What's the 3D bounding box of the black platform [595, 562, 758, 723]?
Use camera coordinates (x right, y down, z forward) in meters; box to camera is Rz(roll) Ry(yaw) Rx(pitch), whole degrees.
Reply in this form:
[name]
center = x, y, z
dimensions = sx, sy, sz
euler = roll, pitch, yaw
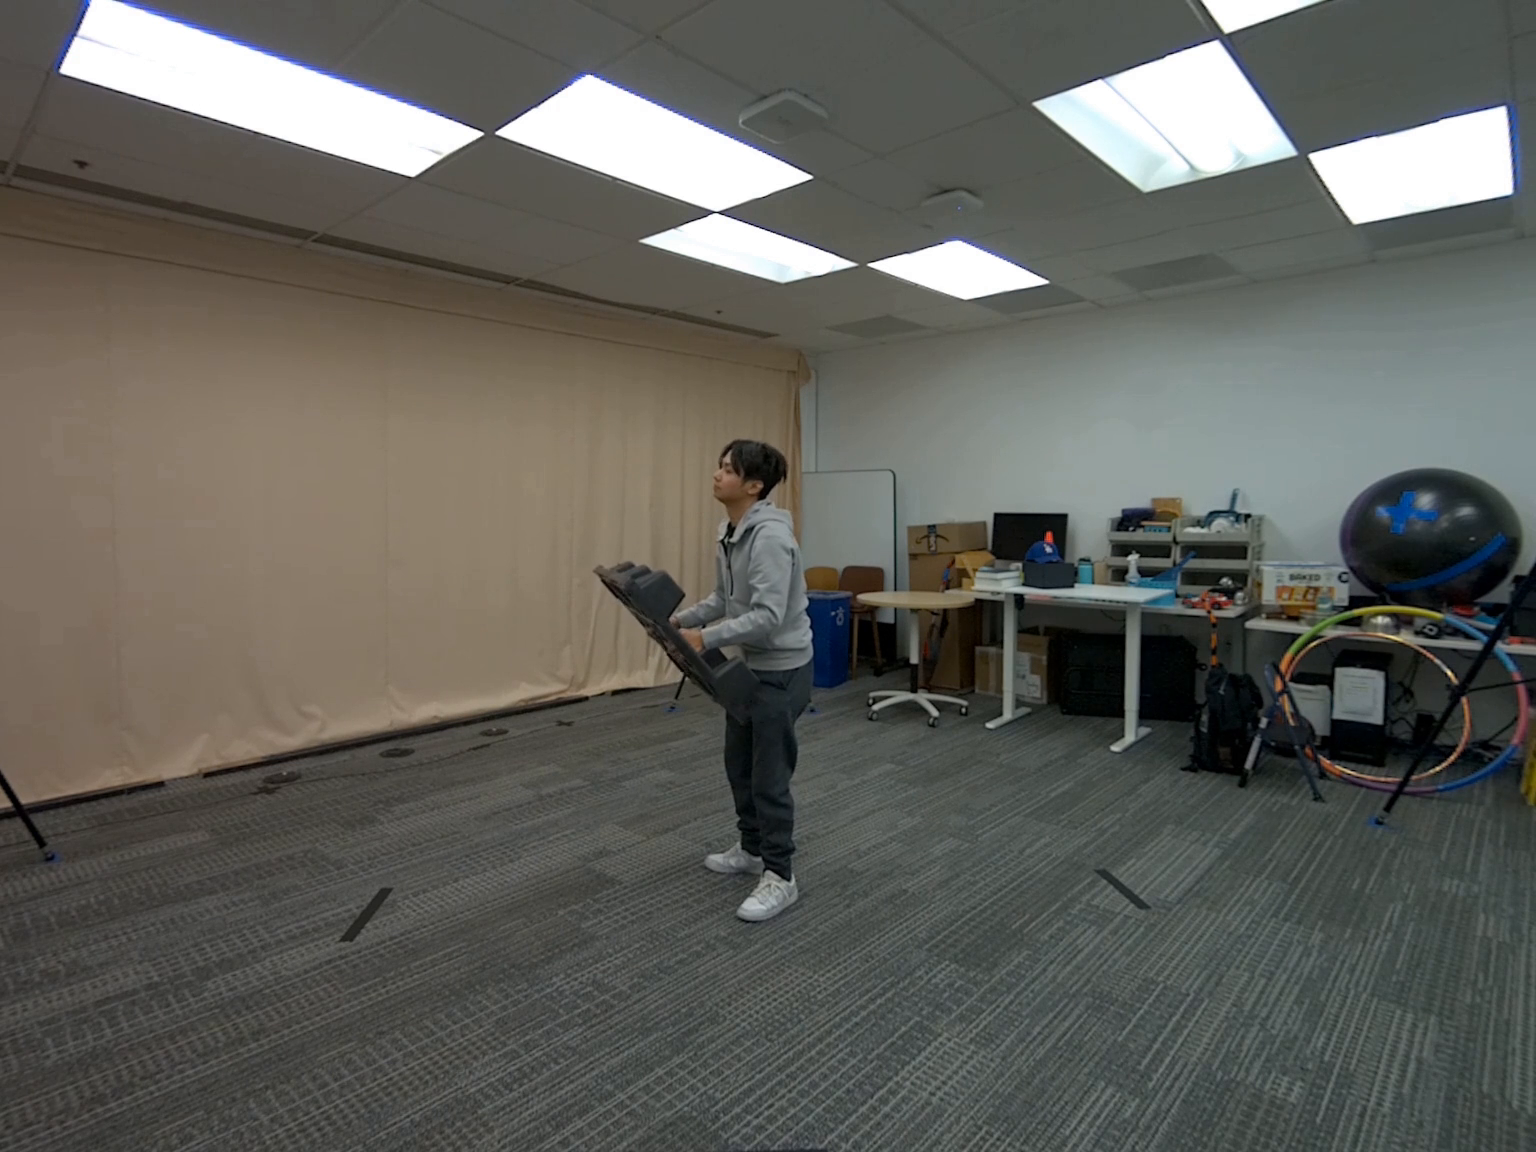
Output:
[black platform]
center = -0.327, 0.190, 2.962
dimensions = 0.143, 0.597, 0.820
euler = -42, 13, -11
